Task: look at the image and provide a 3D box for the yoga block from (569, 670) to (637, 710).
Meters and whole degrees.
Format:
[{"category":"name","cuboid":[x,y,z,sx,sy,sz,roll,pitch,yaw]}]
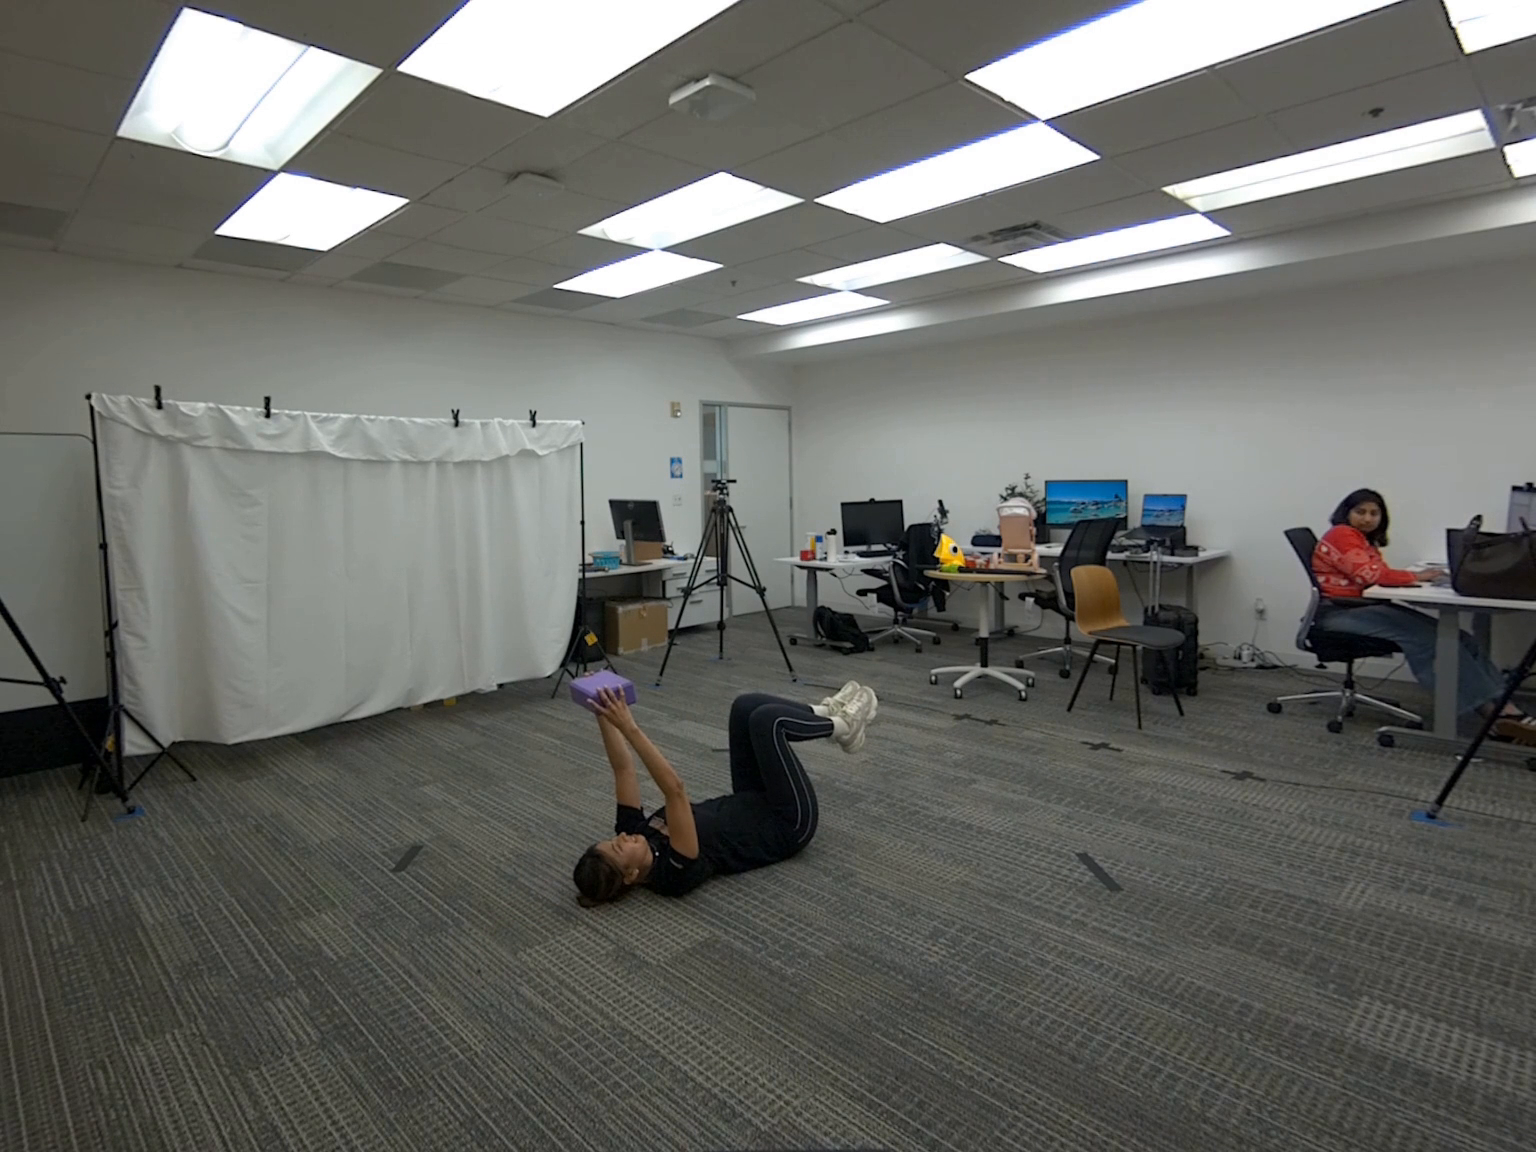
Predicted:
[{"category":"yoga block","cuboid":[-0.558,0.390,2.868,0.146,0.075,0.236,-16,13,-28]}]
